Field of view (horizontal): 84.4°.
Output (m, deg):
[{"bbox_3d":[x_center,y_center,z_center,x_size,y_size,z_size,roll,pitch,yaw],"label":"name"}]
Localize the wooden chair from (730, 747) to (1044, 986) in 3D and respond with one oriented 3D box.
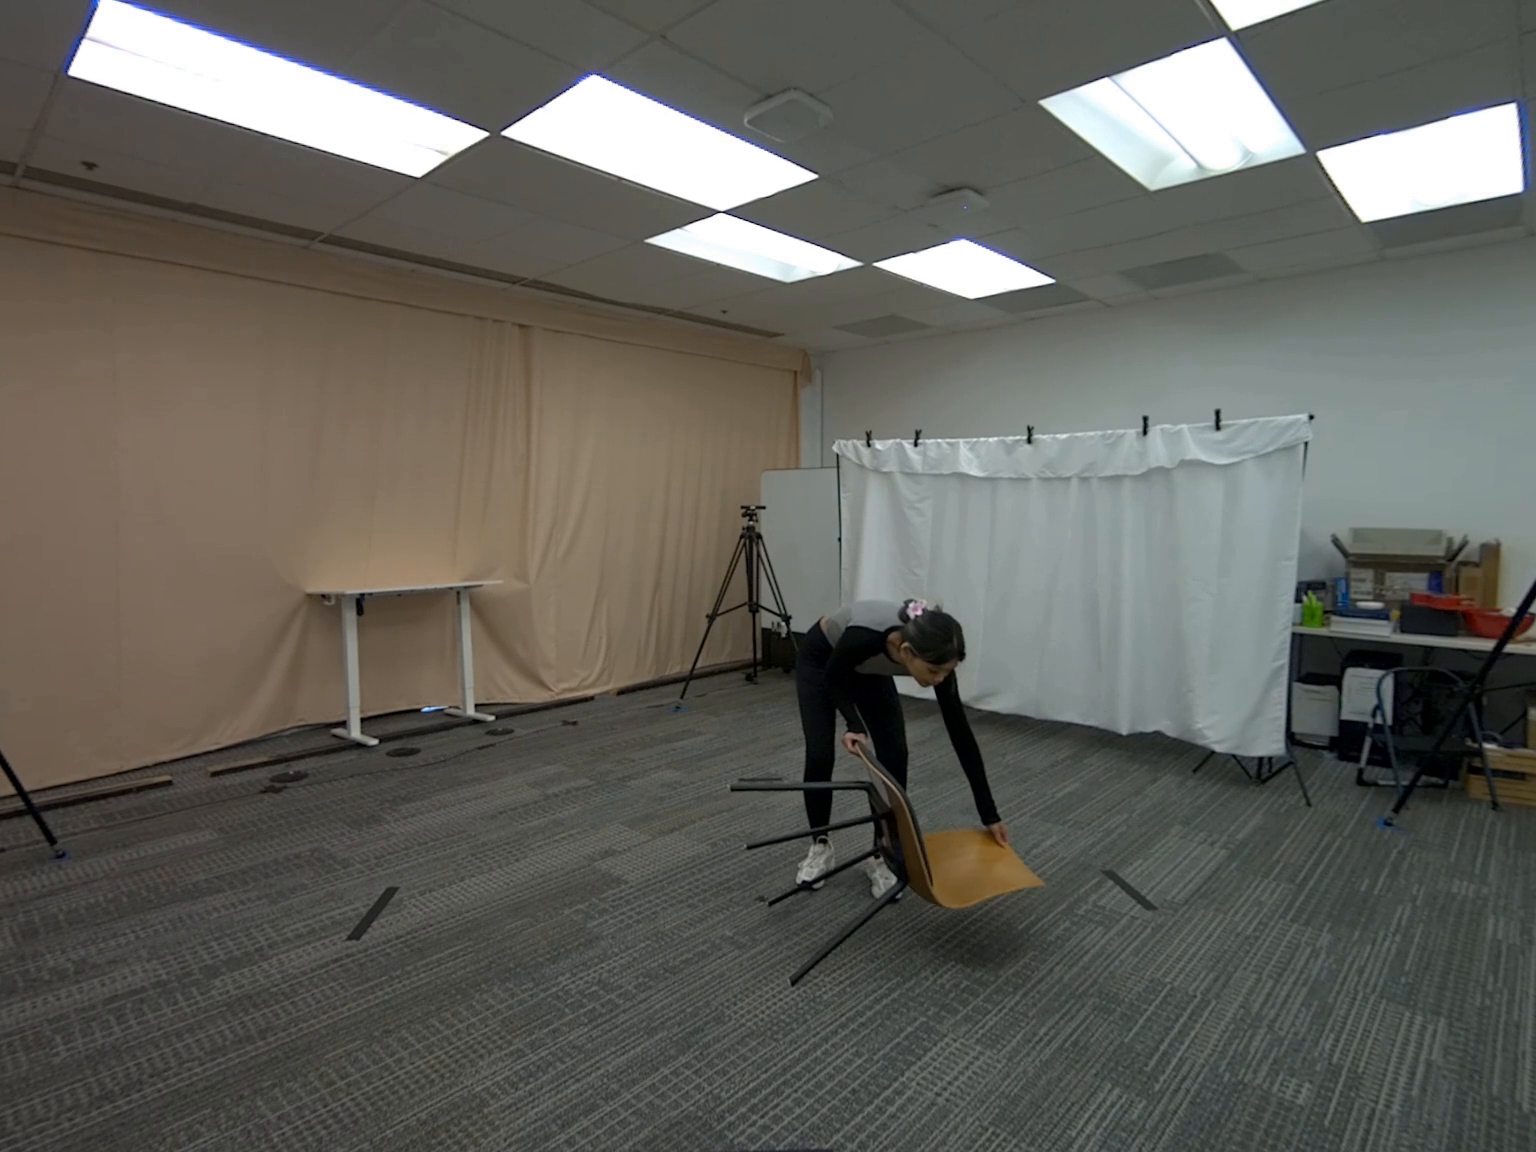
[{"bbox_3d":[0.374,0.809,2.642,0.874,0.519,0.483,-13,9,-4],"label":"wooden chair"}]
